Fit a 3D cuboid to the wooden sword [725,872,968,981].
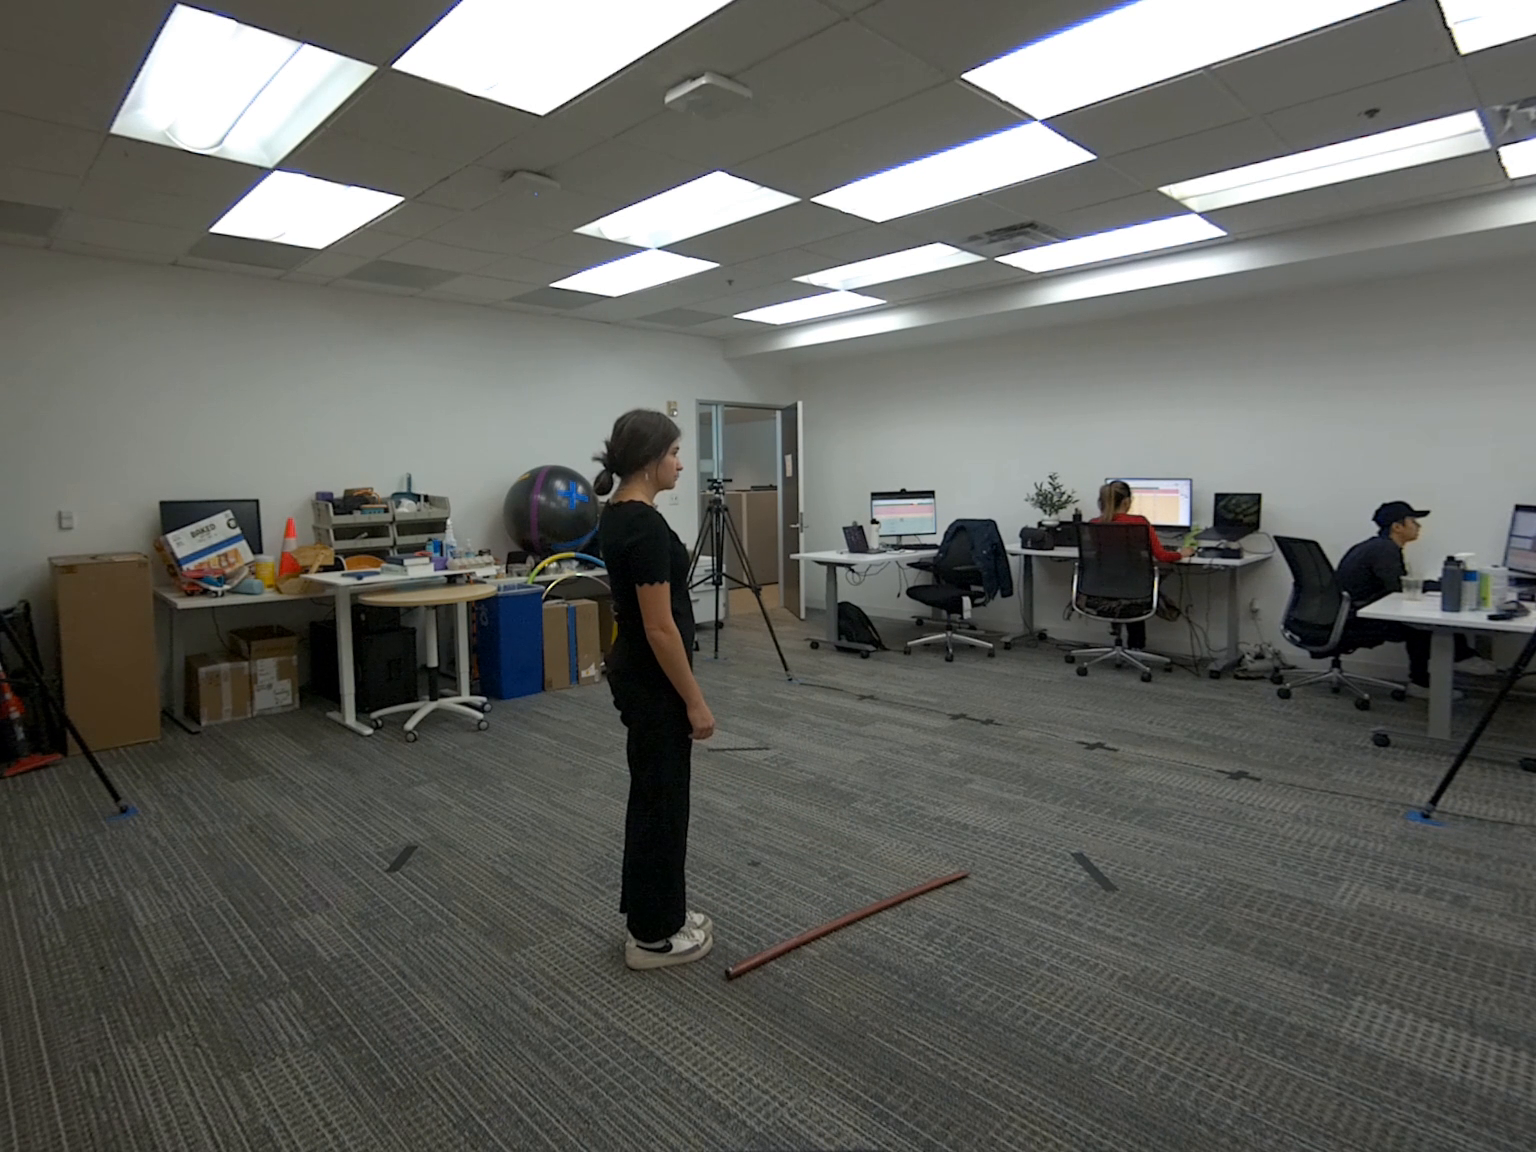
[{"bbox_3d":[0.274,1.063,2.703,0.999,0.024,0.053,-6,16,-34],"label":"wooden sword"}]
